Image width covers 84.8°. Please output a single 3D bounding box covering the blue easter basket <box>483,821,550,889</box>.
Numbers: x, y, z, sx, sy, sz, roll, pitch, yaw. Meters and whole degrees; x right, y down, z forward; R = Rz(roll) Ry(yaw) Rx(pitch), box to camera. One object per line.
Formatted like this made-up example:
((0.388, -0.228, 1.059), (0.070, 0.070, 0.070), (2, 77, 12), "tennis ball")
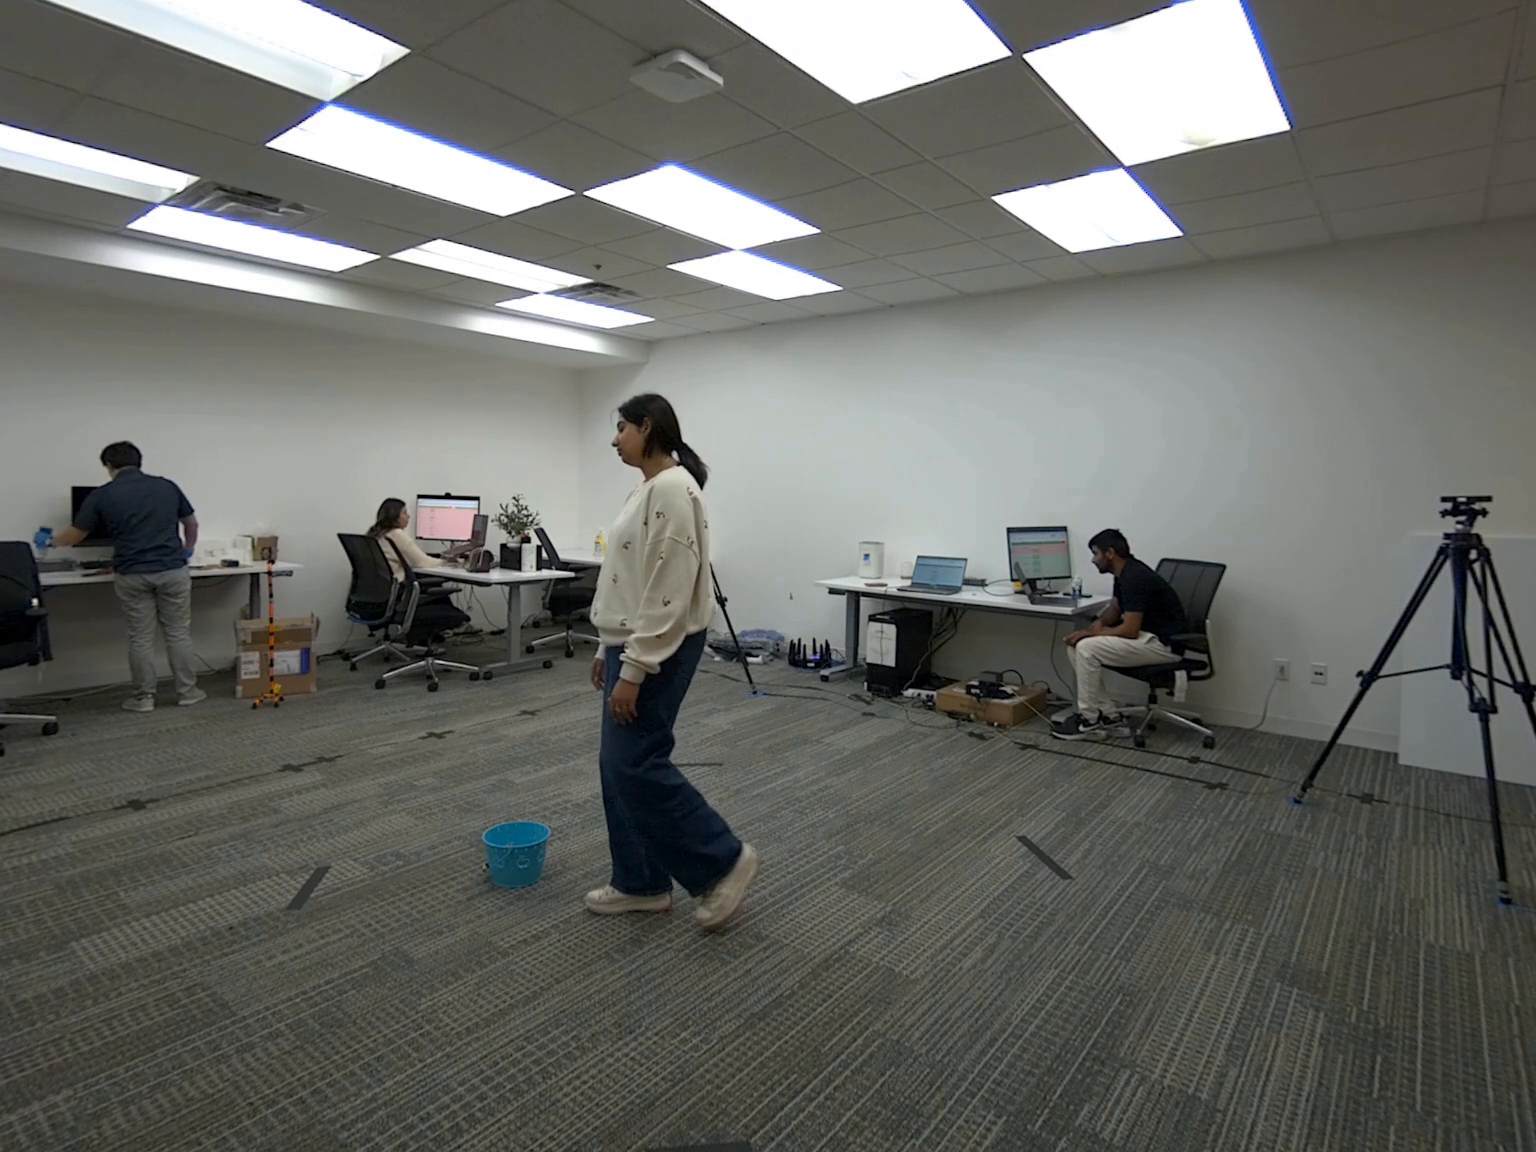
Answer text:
((-0.903, 0.984, 3.026), (0.243, 0.155, 0.245), (1, 5, -2), "blue easter basket")
